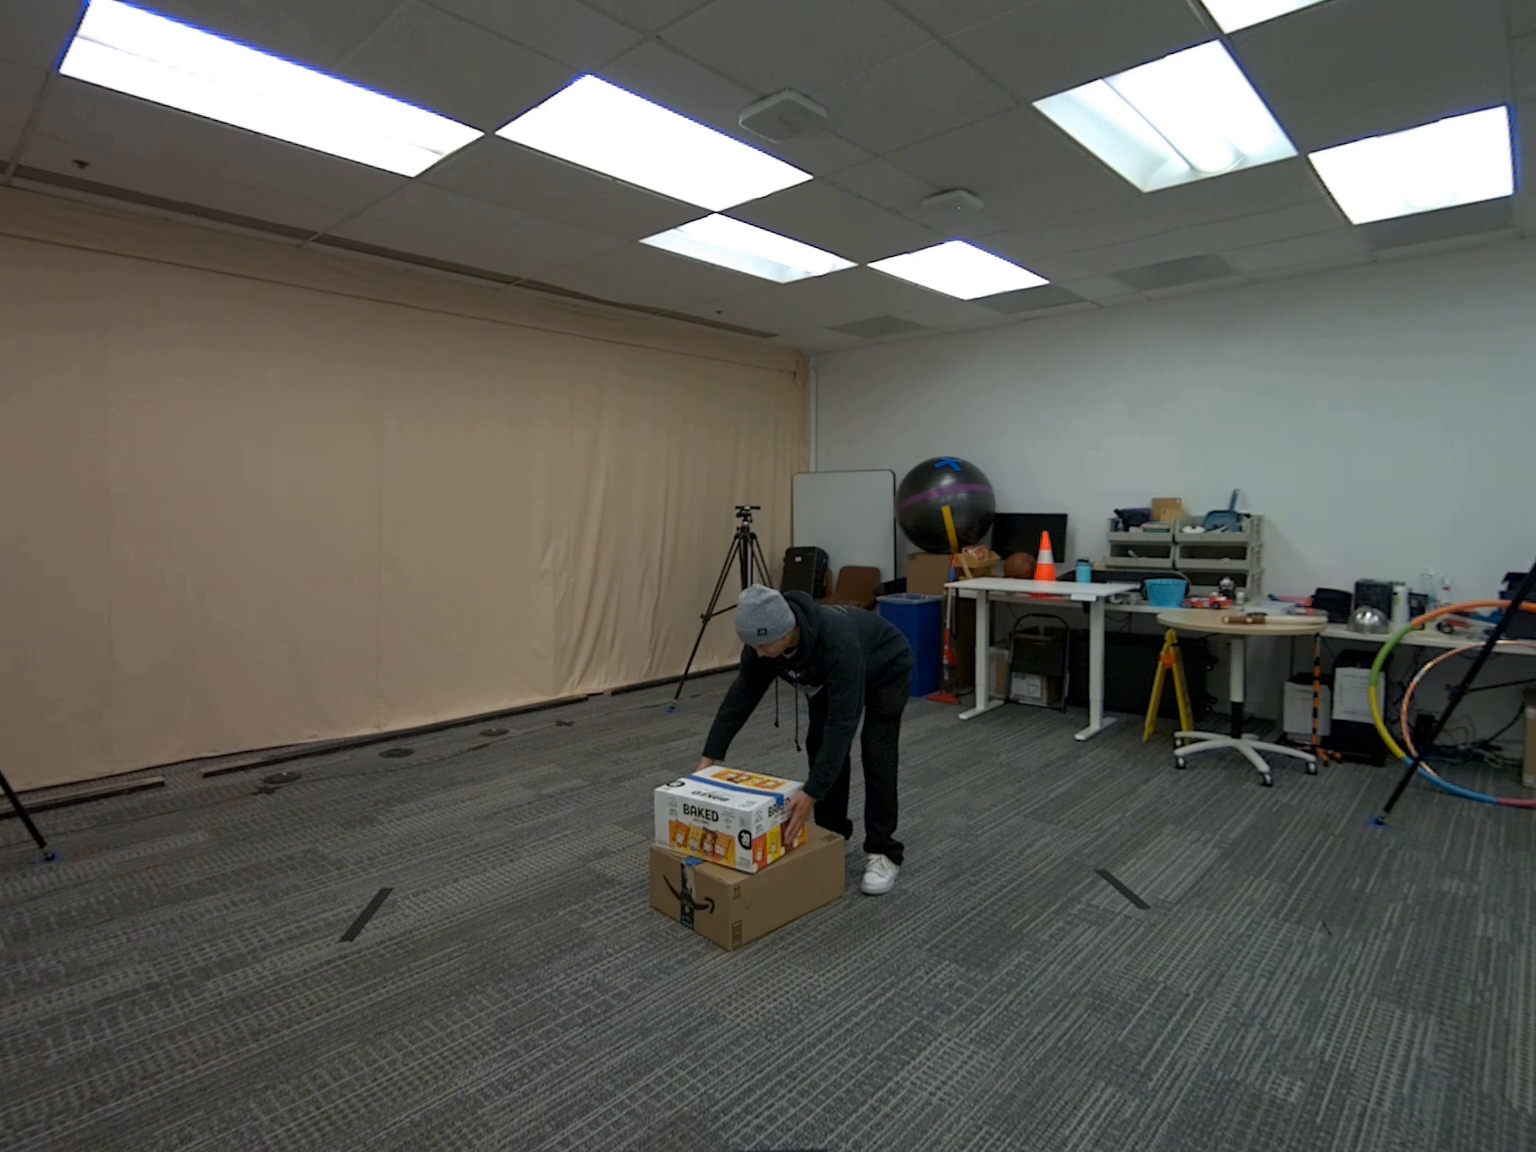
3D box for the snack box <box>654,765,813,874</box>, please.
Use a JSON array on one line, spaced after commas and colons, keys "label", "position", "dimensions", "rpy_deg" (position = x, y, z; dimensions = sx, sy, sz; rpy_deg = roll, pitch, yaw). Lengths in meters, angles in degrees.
[{"label": "snack box", "position": [-0.124, 0.829, 2.920], "dimensions": [0.418, 0.205, 0.330], "rpy_deg": [2, 4, 36]}]
